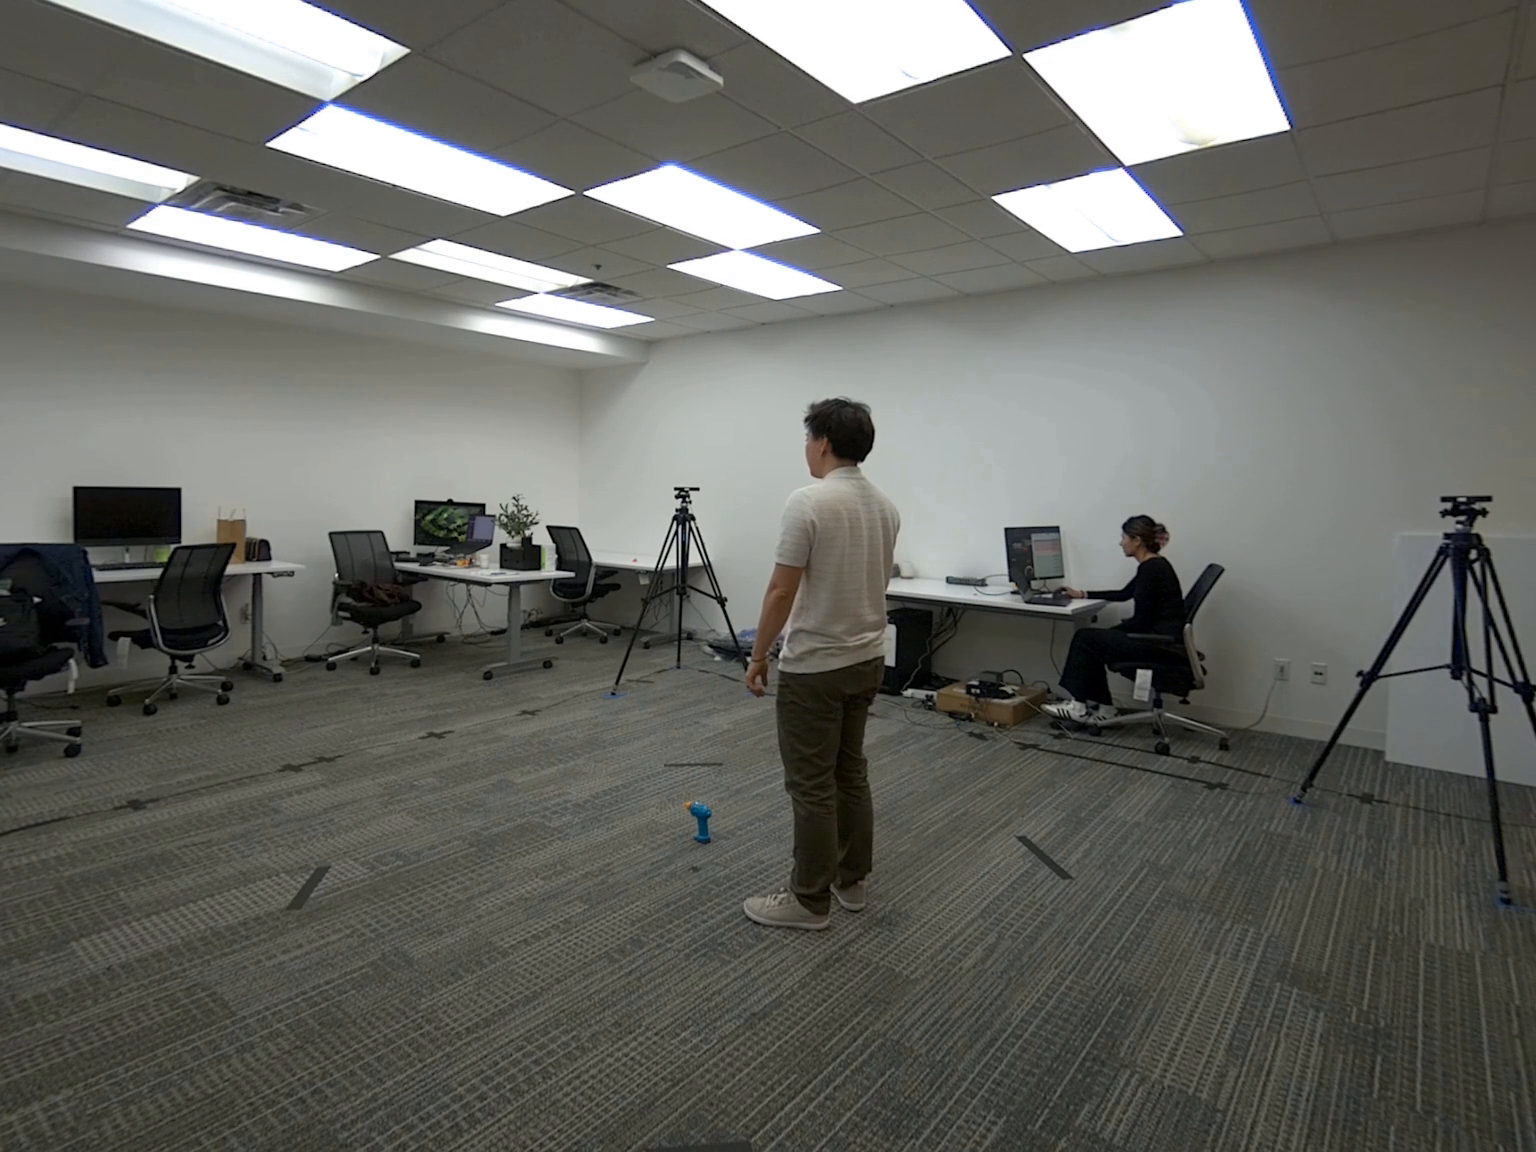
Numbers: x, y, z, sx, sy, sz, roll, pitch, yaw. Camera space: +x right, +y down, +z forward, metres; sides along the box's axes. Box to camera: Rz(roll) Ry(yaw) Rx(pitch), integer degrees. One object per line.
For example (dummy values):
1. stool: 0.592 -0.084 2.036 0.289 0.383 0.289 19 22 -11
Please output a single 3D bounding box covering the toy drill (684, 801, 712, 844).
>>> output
1. toy drill: -0.295 0.965 3.387 0.059 0.146 0.175 -2 4 -42
